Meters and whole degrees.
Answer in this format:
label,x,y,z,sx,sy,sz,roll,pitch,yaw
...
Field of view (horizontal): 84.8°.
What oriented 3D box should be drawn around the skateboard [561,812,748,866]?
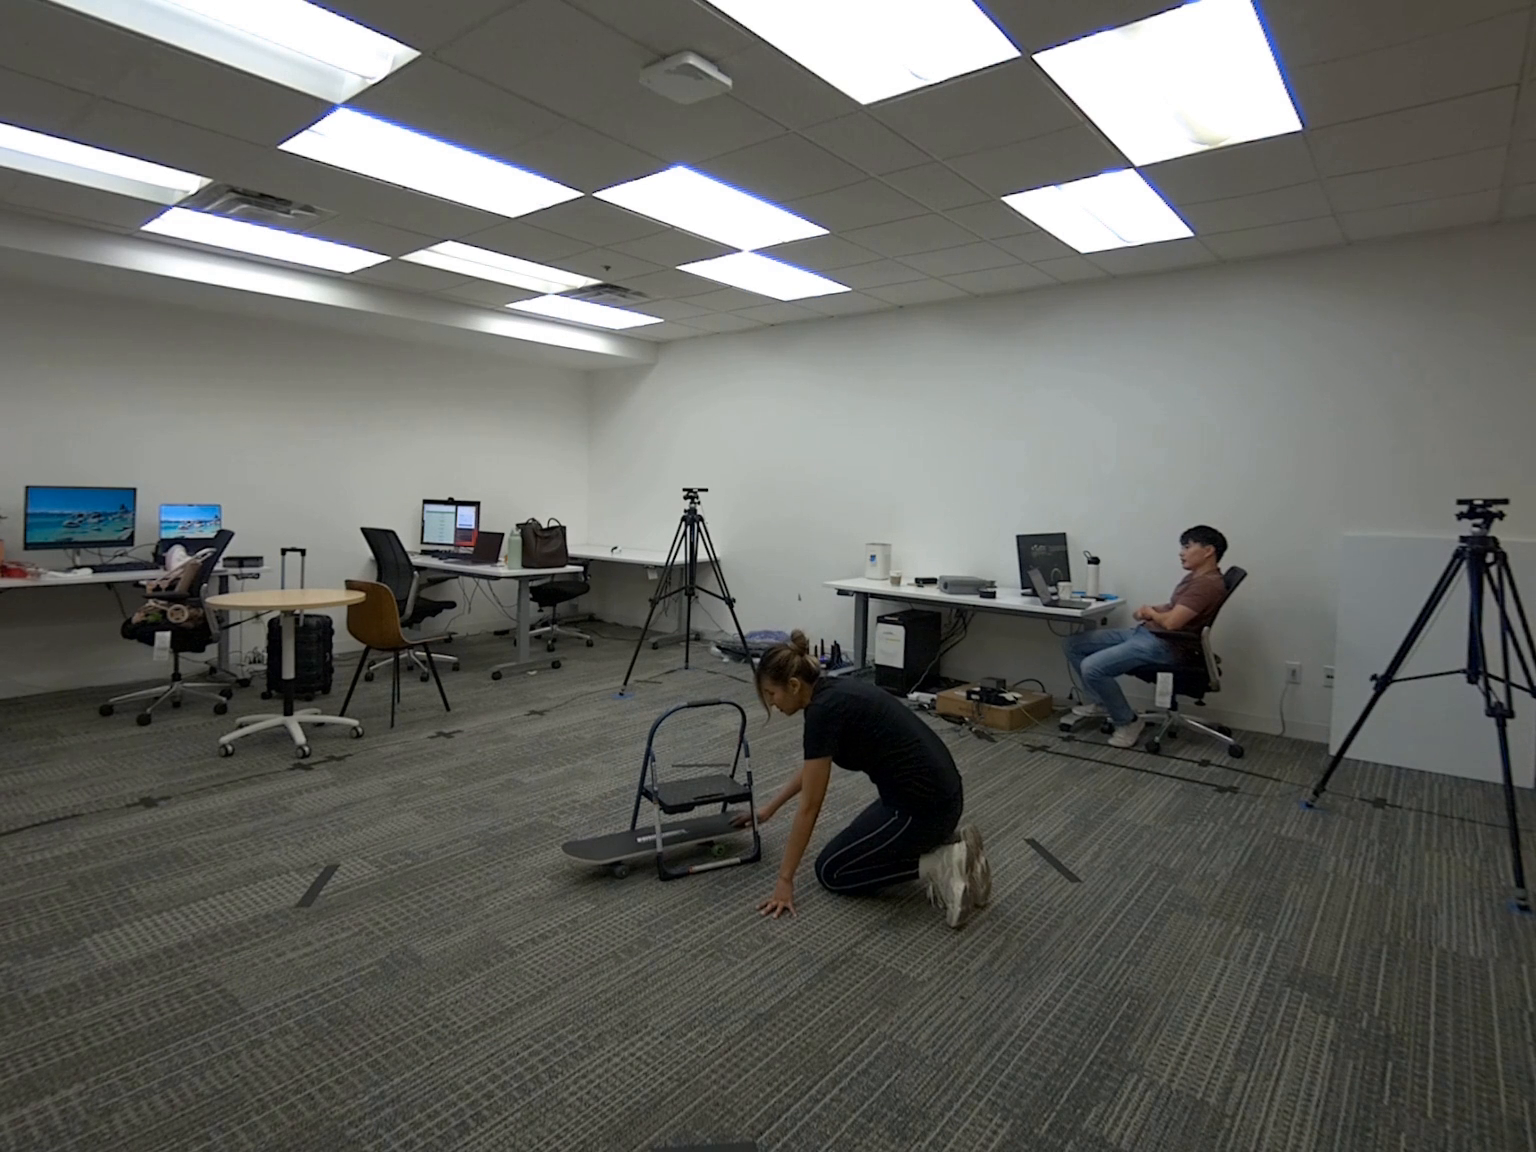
label,x,y,z,sx,sy,sz,roll,pitch,yaw
skateboard,-0.399,1.001,3.189,0.764,0.110,0.199,-2,5,-30
